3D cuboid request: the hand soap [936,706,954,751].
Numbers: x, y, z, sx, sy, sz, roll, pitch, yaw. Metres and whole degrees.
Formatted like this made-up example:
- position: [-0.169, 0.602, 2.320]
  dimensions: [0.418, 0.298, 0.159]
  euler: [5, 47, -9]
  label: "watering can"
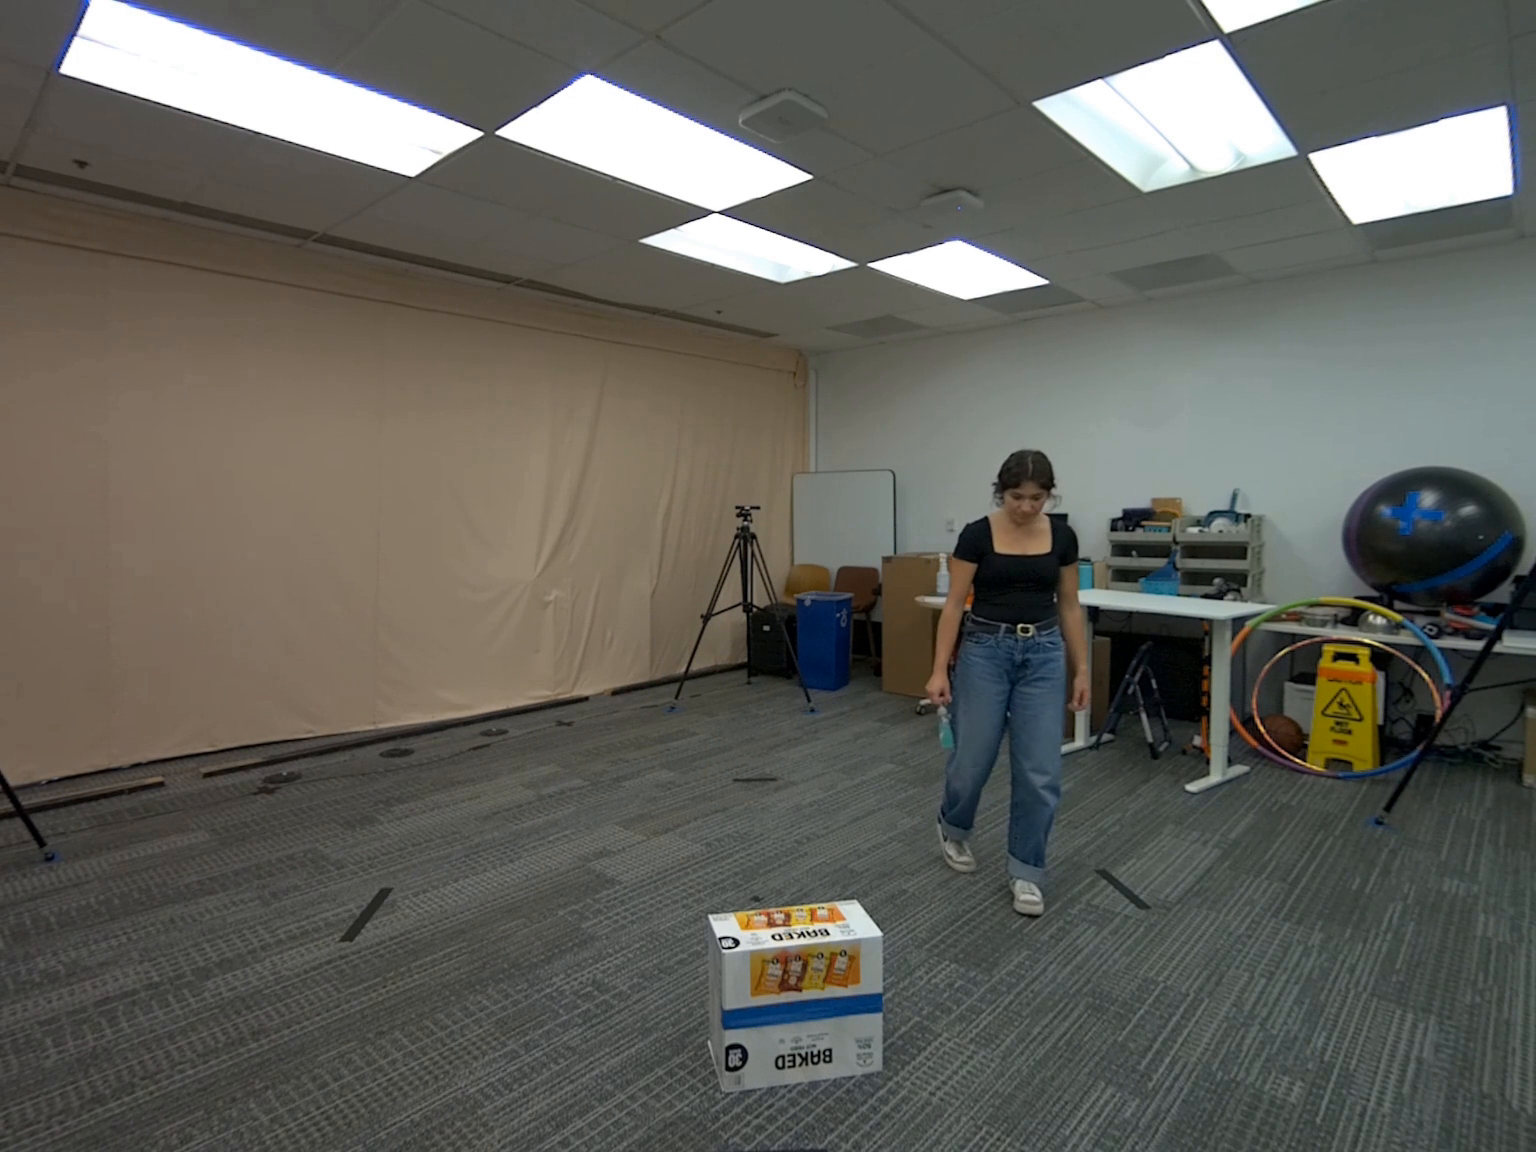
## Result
- position: [0.624, 0.509, 2.934]
  dimensions: [0.043, 0.169, 0.084]
  euler: [-3, -10, -4]
  label: "hand soap"
